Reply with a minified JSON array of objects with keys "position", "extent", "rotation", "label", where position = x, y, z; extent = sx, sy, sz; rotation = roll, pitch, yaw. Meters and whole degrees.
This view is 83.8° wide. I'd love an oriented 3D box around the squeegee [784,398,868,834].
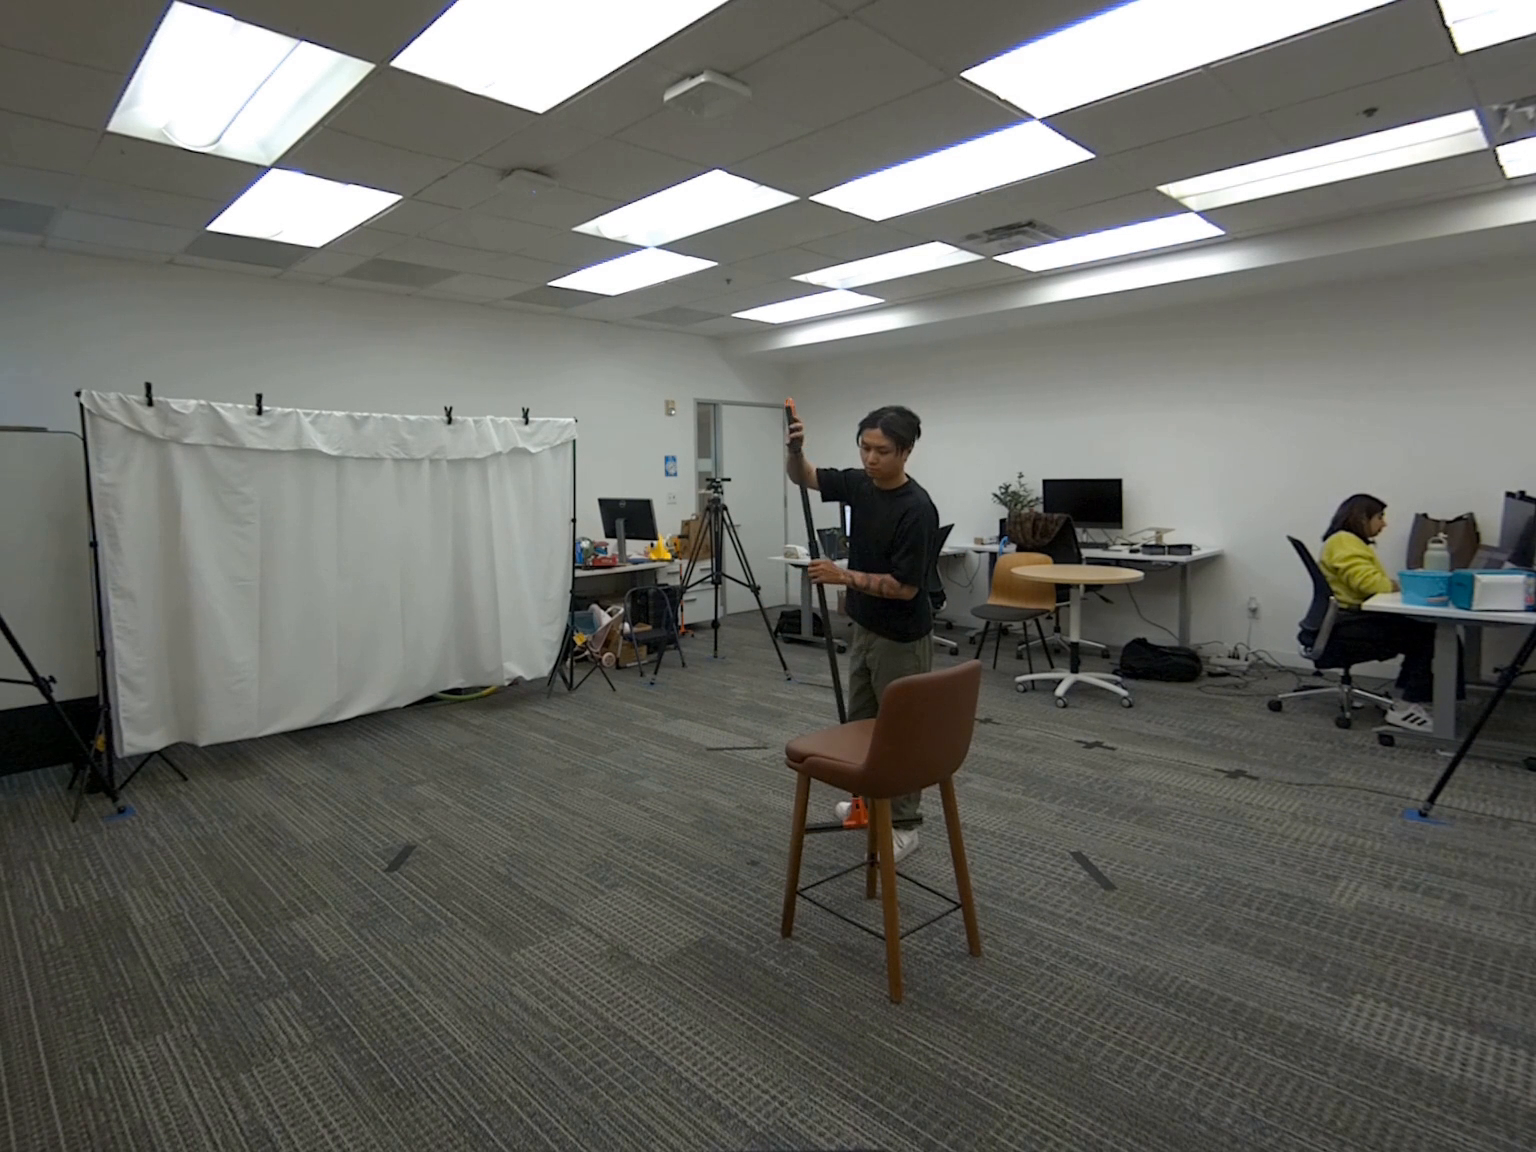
[{"position":[0.201,0.156,3.008],"extent":[0.440,1.535,0.053],"rotation":[-10,1,7],"label":"squeegee"}]
